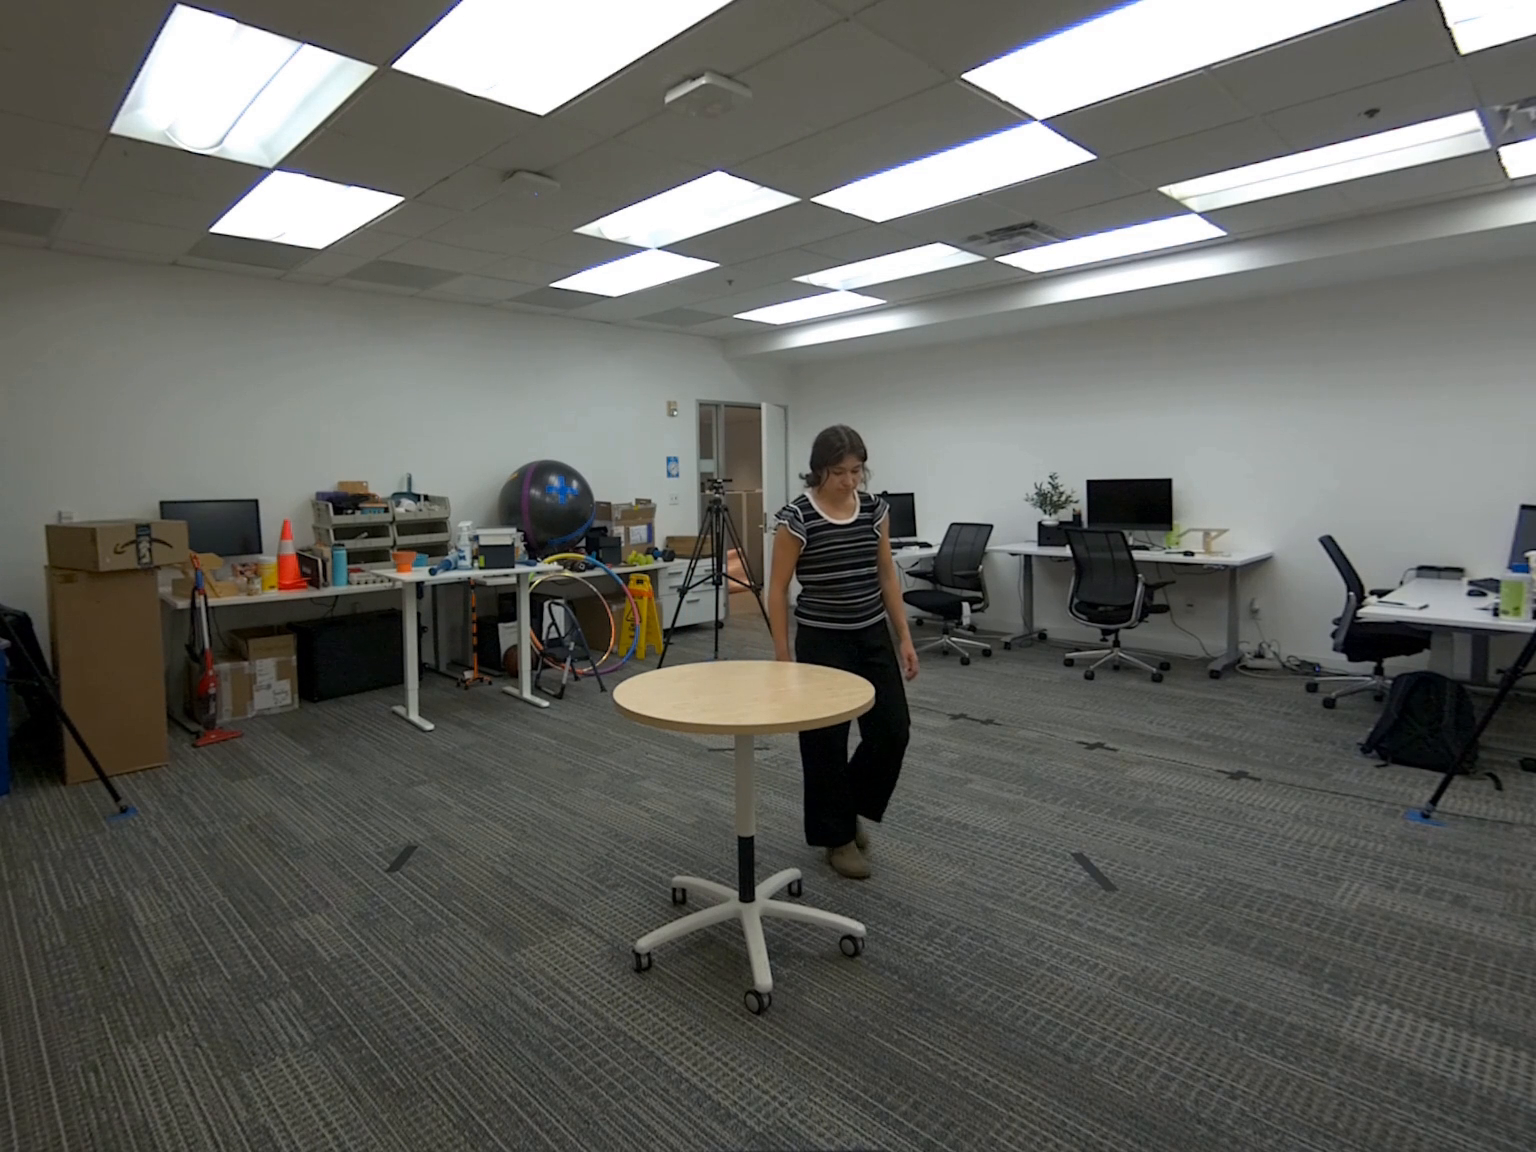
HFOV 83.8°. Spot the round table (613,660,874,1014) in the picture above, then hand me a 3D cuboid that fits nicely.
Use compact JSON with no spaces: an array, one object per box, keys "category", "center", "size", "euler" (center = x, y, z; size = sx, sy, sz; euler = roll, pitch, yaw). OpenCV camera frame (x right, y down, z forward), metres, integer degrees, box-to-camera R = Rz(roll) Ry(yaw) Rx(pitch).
[{"category":"round table","center":[-0.062,0.724,2.543],"size":[0.763,0.791,0.768],"euler":[-2,5,-2]}]
